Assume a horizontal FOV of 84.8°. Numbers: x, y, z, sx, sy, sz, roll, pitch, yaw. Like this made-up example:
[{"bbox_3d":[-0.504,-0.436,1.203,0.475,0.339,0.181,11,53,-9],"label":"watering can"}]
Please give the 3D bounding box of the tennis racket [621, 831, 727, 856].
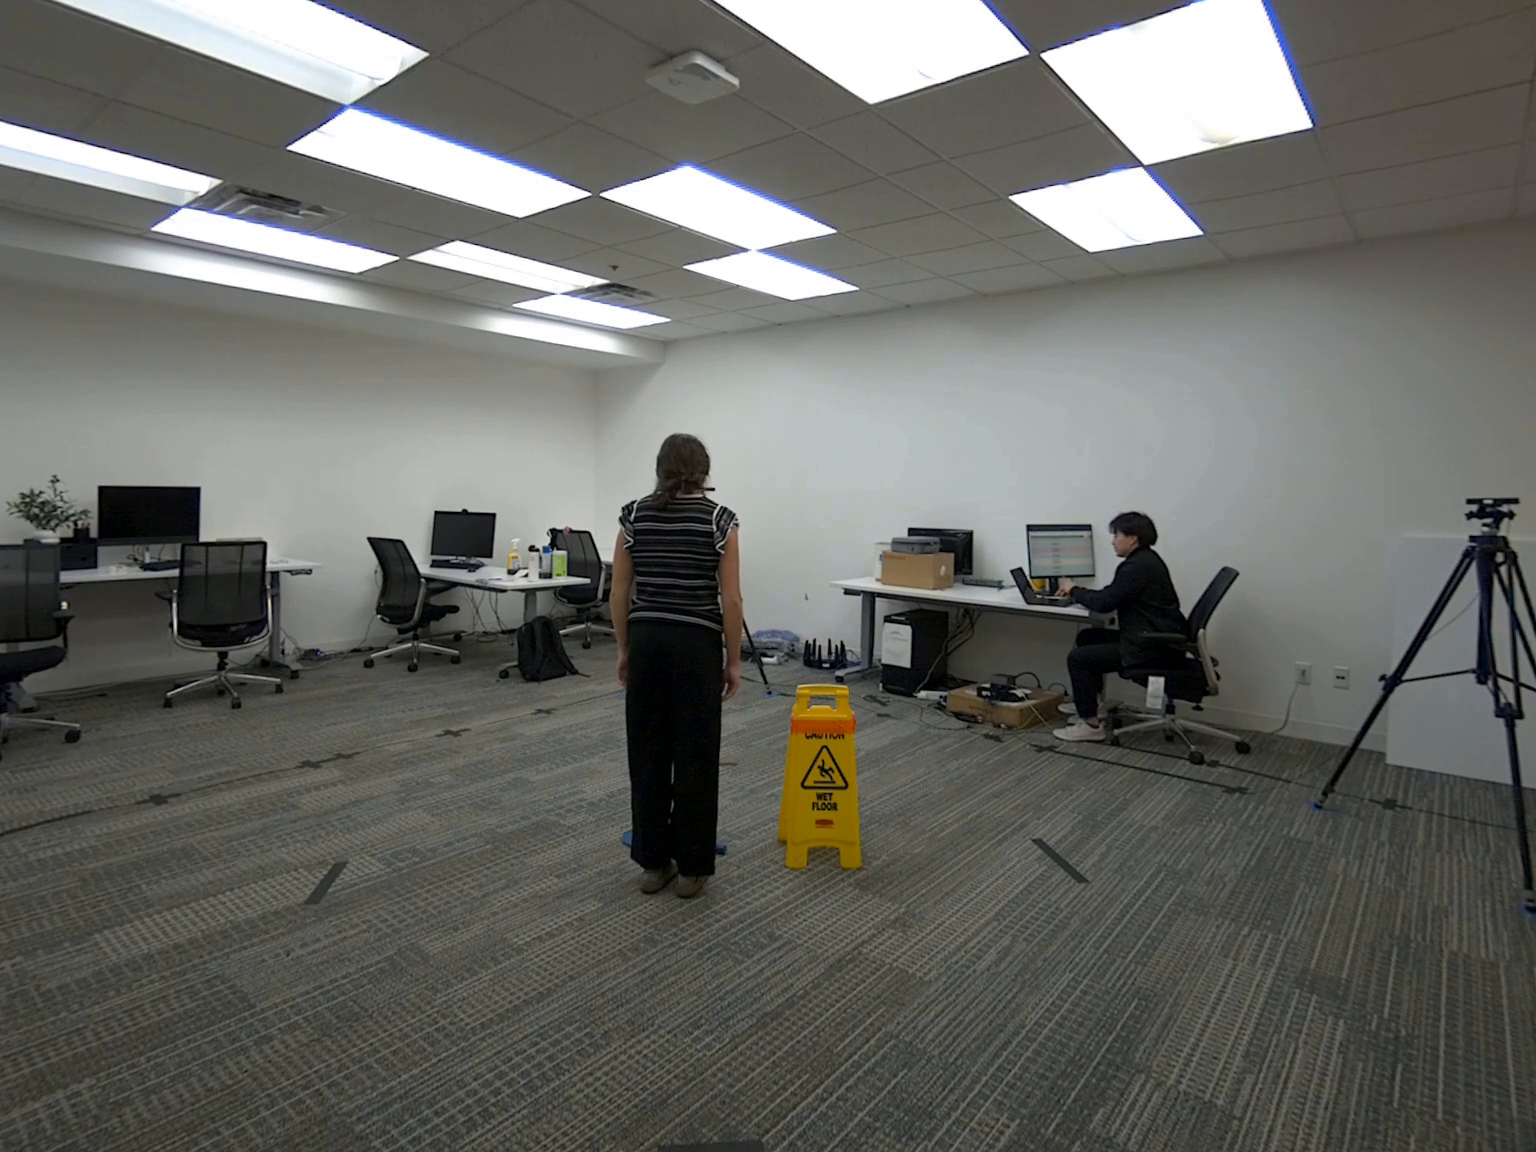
[{"bbox_3d":[-0.374,1.020,3.315,0.442,0.031,0.210,1,5,20],"label":"tennis racket"}]
